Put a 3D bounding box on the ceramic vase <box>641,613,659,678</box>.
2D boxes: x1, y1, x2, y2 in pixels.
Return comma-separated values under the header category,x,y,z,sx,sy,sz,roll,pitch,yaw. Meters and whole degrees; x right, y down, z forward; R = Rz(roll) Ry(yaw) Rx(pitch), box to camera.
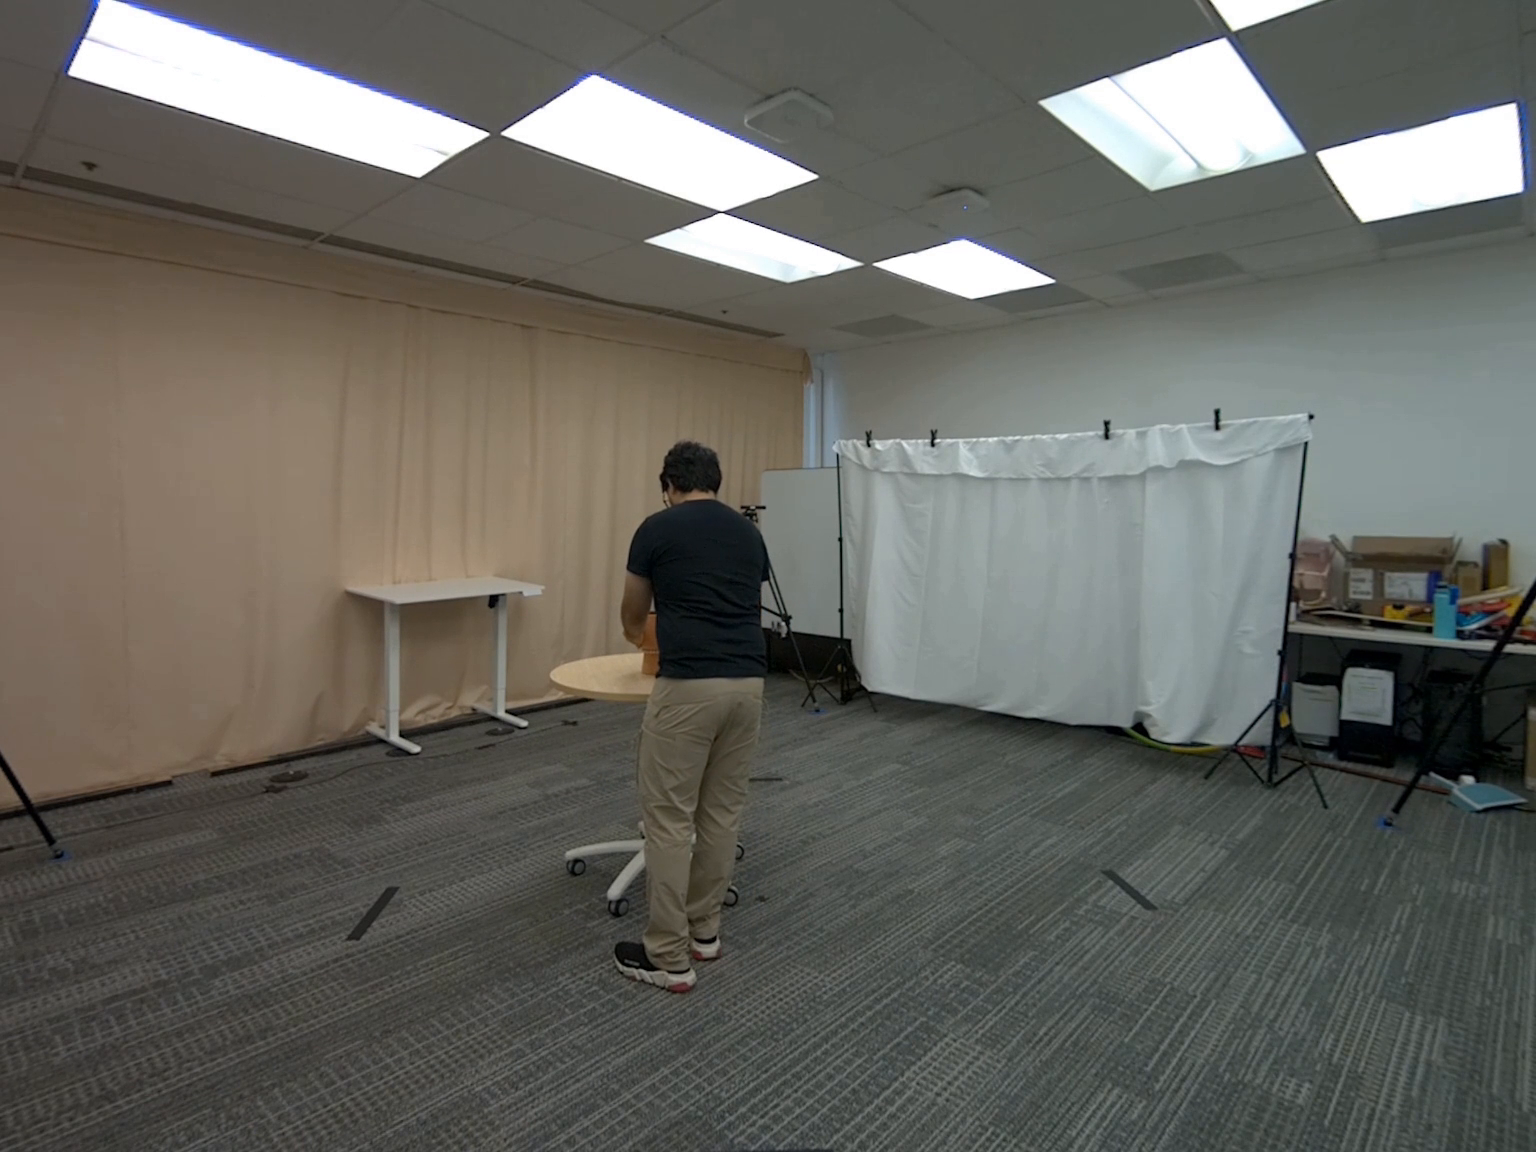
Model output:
category,x,y,z,sx,sy,sz,roll,pitch,yaw
ceramic vase,-0.416,0.247,3.097,0.159,0.219,0.134,1,3,2
